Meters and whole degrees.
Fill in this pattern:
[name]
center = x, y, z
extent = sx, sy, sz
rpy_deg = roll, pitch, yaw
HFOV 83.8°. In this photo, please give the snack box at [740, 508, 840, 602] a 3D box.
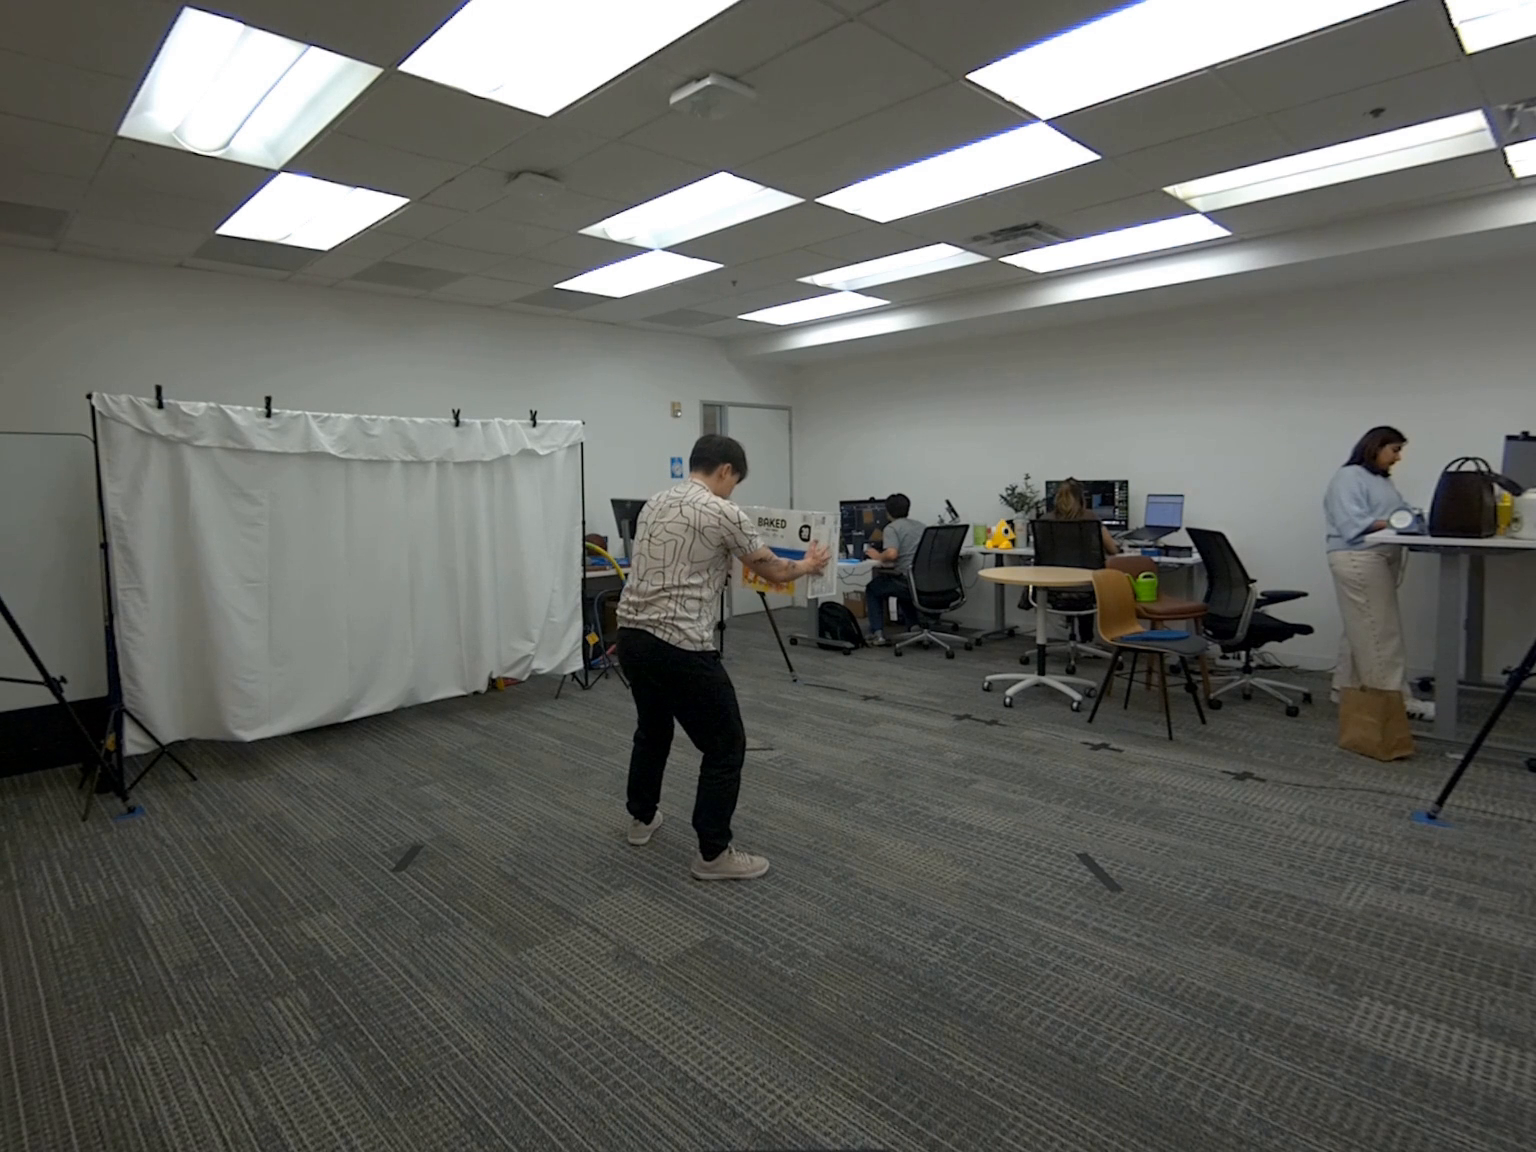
[snack box]
center = 0.073, -0.102, 3.541
extent = 0.418, 0.339, 0.200
rpy_deg = 8, 6, 39
